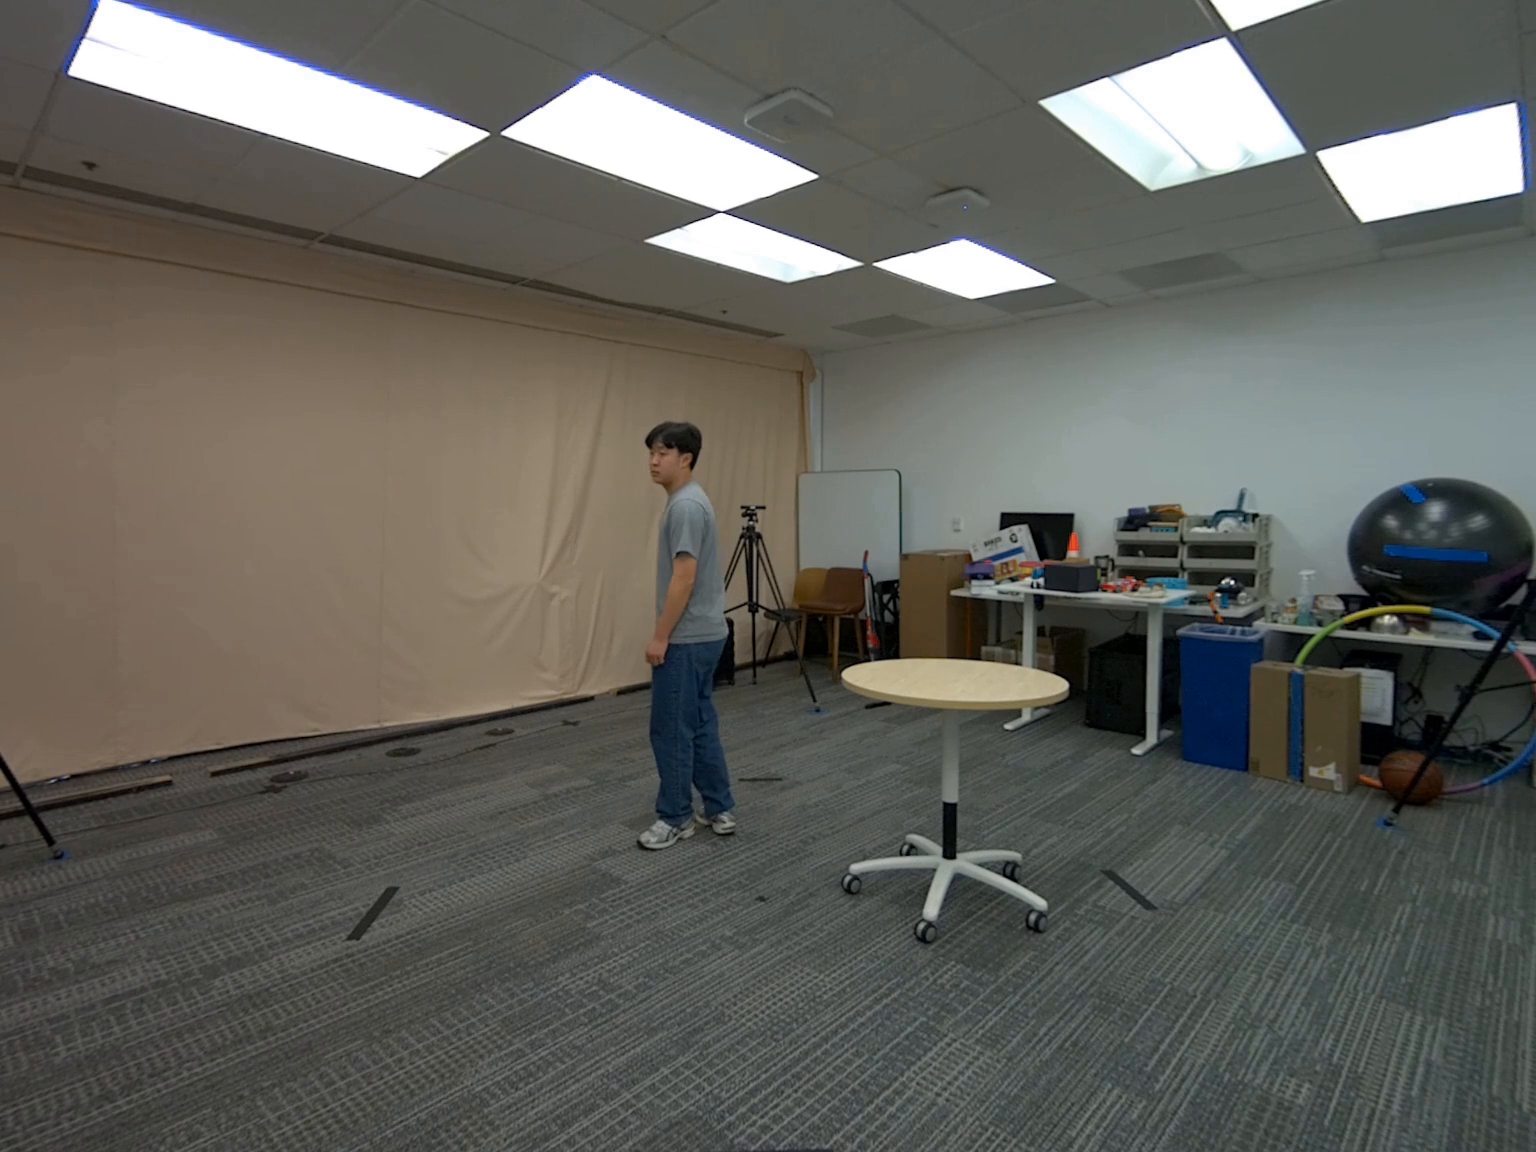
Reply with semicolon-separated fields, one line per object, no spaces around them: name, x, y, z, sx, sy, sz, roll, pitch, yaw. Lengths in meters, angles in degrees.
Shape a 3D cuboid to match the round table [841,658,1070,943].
round table;0.650;0.754;2.982;0.763;0.792;0.766;0;3;-2
